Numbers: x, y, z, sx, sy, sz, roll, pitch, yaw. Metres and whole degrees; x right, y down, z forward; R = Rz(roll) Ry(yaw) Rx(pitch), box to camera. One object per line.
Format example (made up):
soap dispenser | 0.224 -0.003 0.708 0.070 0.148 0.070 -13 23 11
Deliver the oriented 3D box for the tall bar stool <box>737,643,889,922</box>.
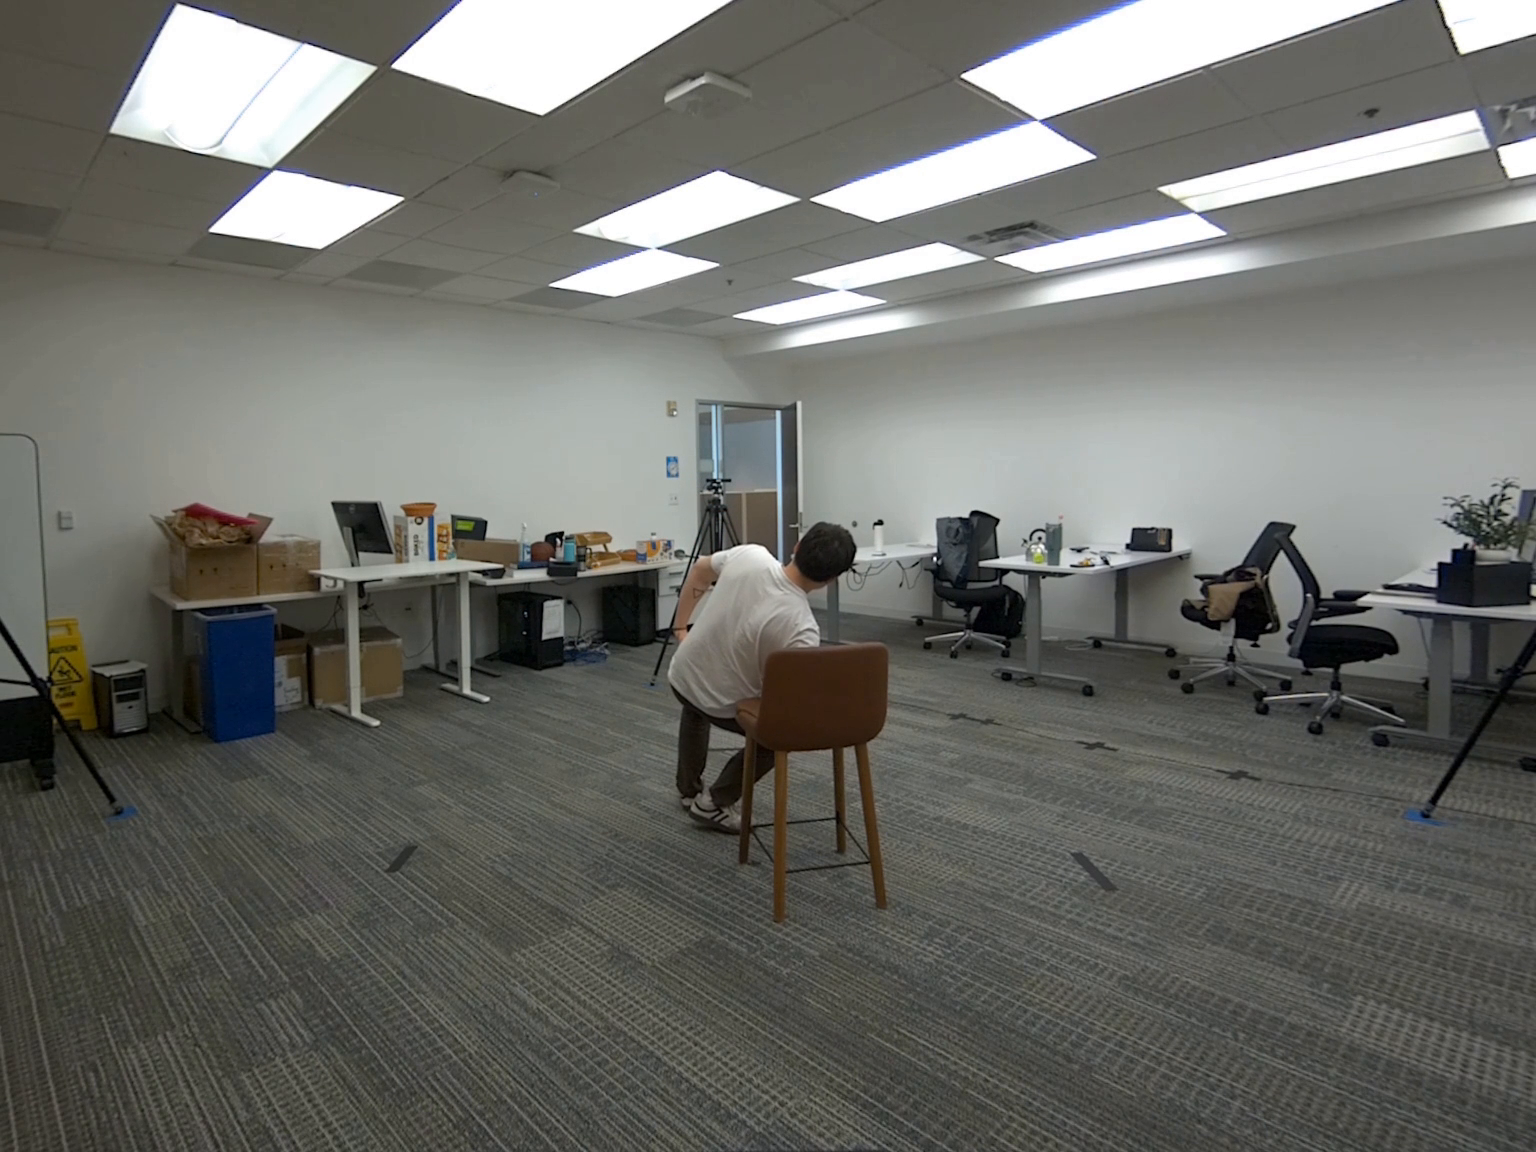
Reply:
tall bar stool | 0.146 0.628 2.912 0.451 0.885 0.476 -2 5 -14
